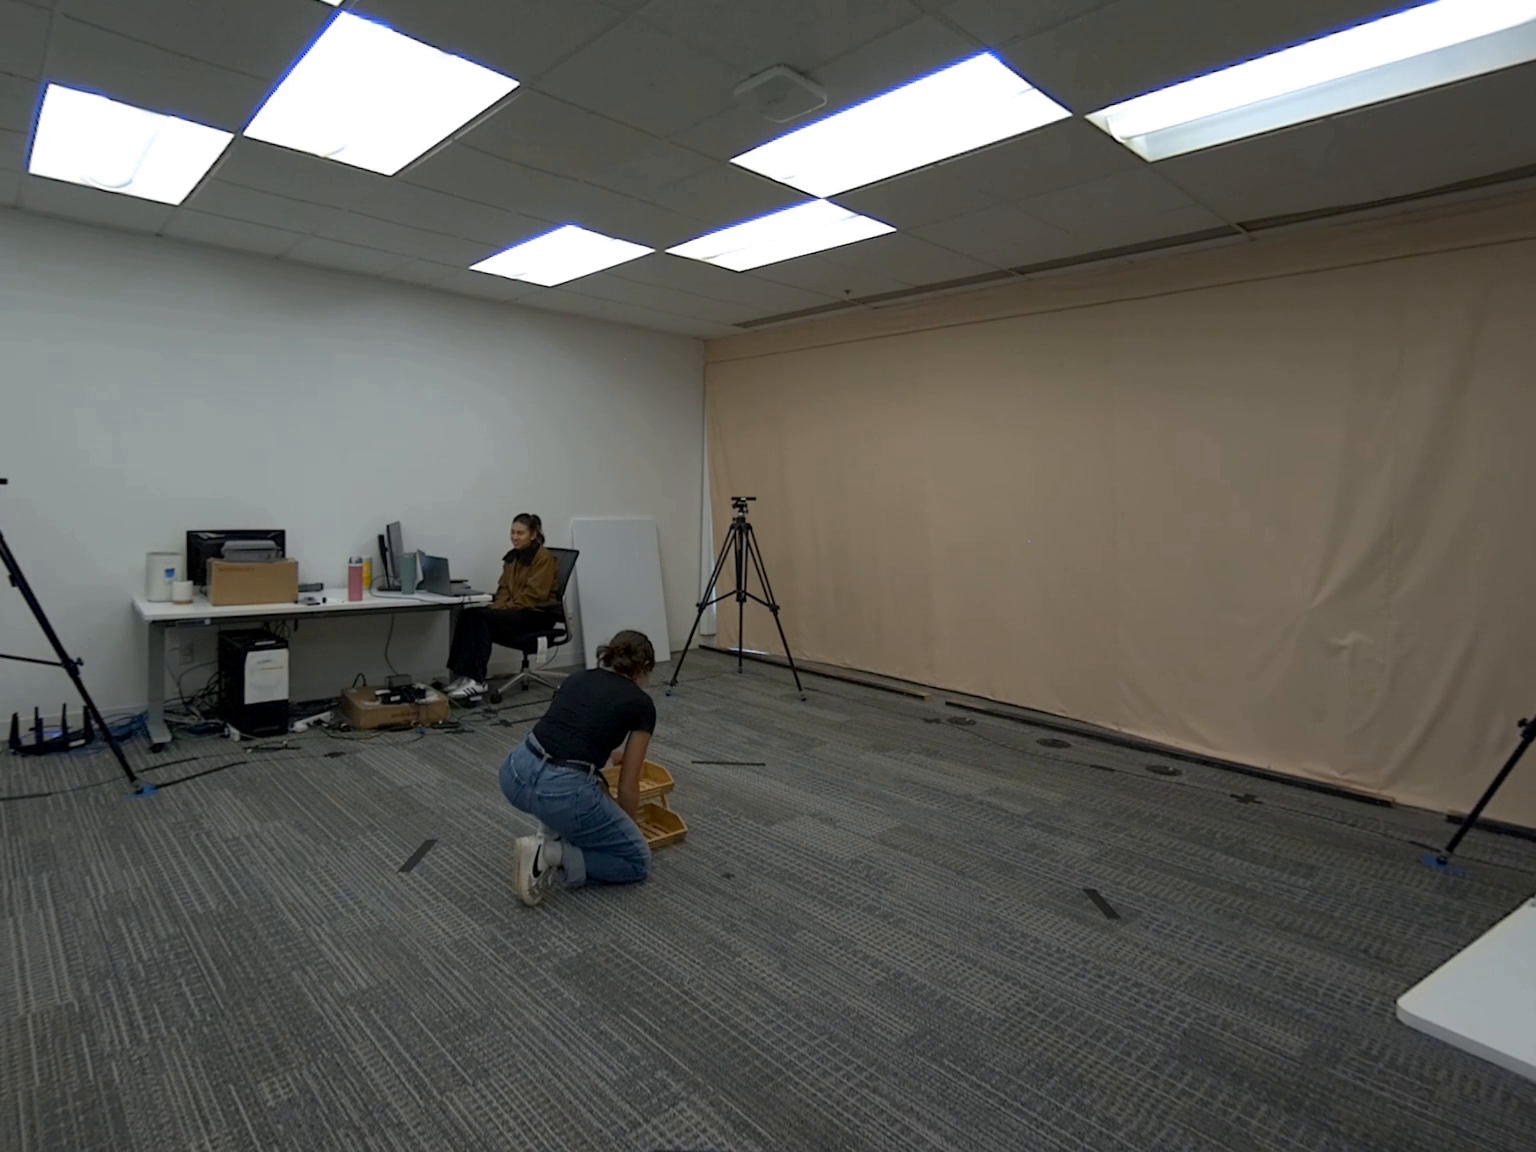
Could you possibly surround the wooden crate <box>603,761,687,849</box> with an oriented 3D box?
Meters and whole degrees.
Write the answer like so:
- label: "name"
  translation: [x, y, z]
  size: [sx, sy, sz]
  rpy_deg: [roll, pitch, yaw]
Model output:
- label: "wooden crate"
  translation: [-0.539, 0.934, 3.417]
  size: [0.317, 0.272, 0.310]
  rpy_deg: [-3, 6, -44]
